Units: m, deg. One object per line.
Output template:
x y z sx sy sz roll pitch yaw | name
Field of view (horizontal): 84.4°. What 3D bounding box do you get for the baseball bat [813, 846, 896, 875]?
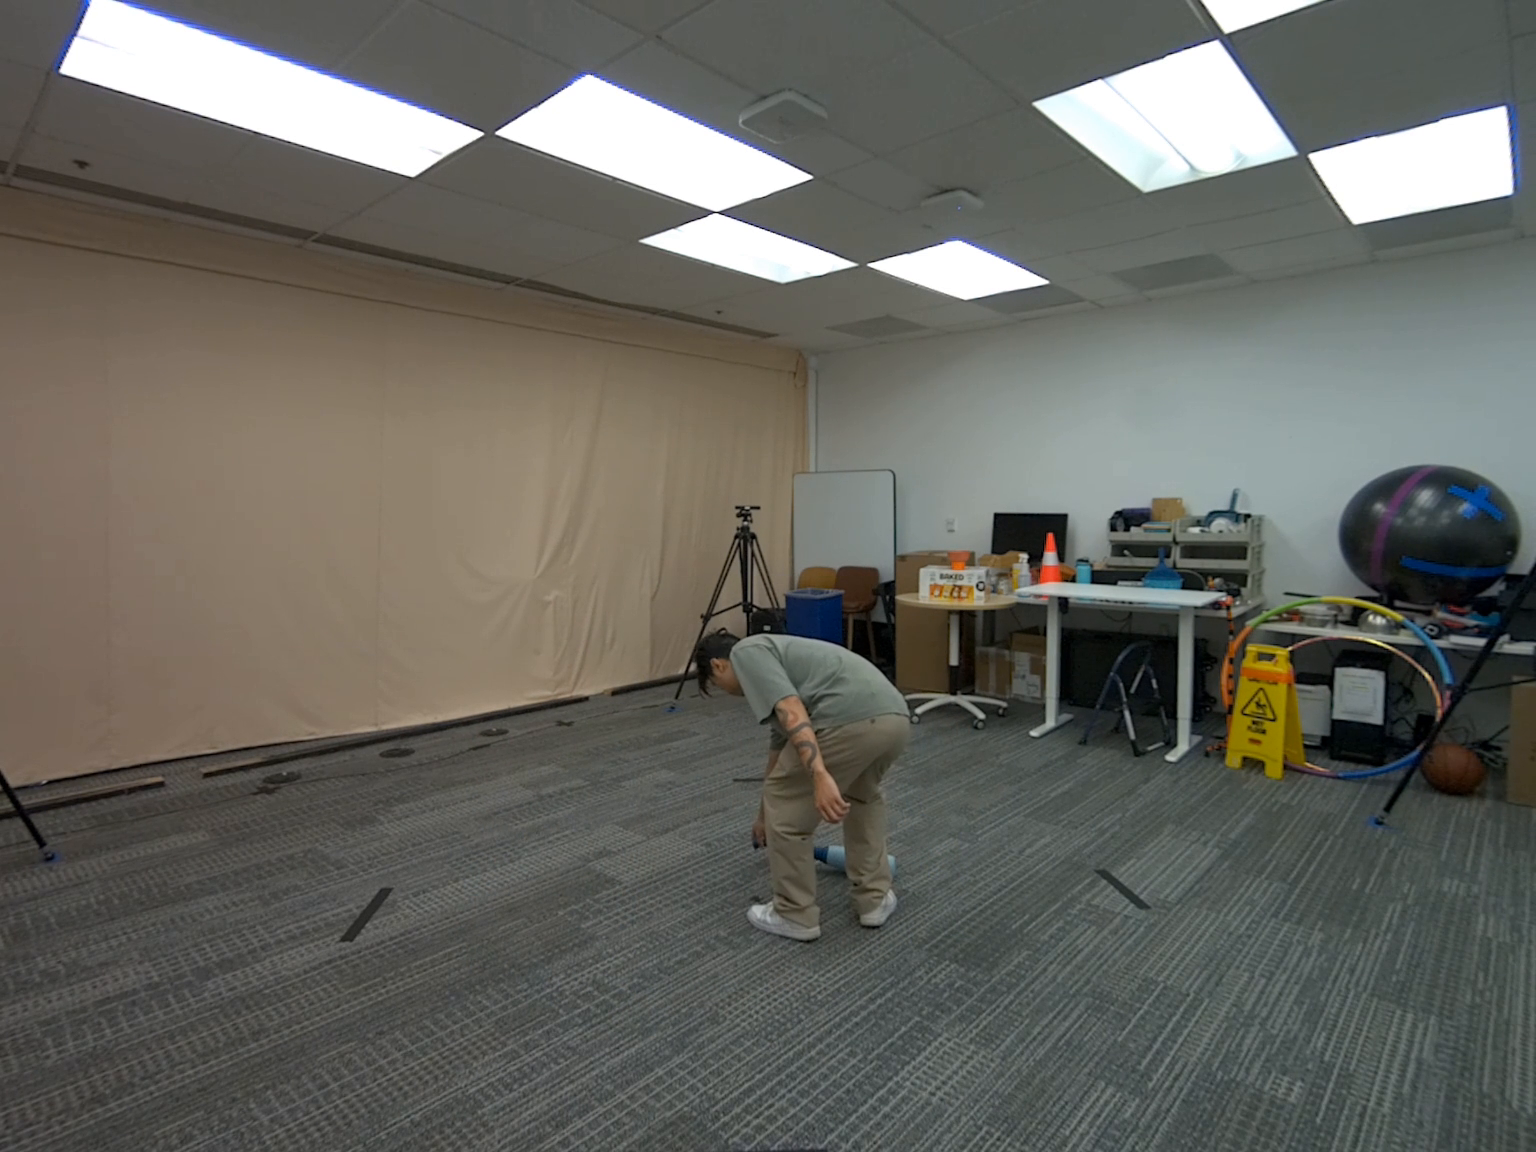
0.224 1.060 3.206 0.552 0.089 0.088 6 5 15 | baseball bat
